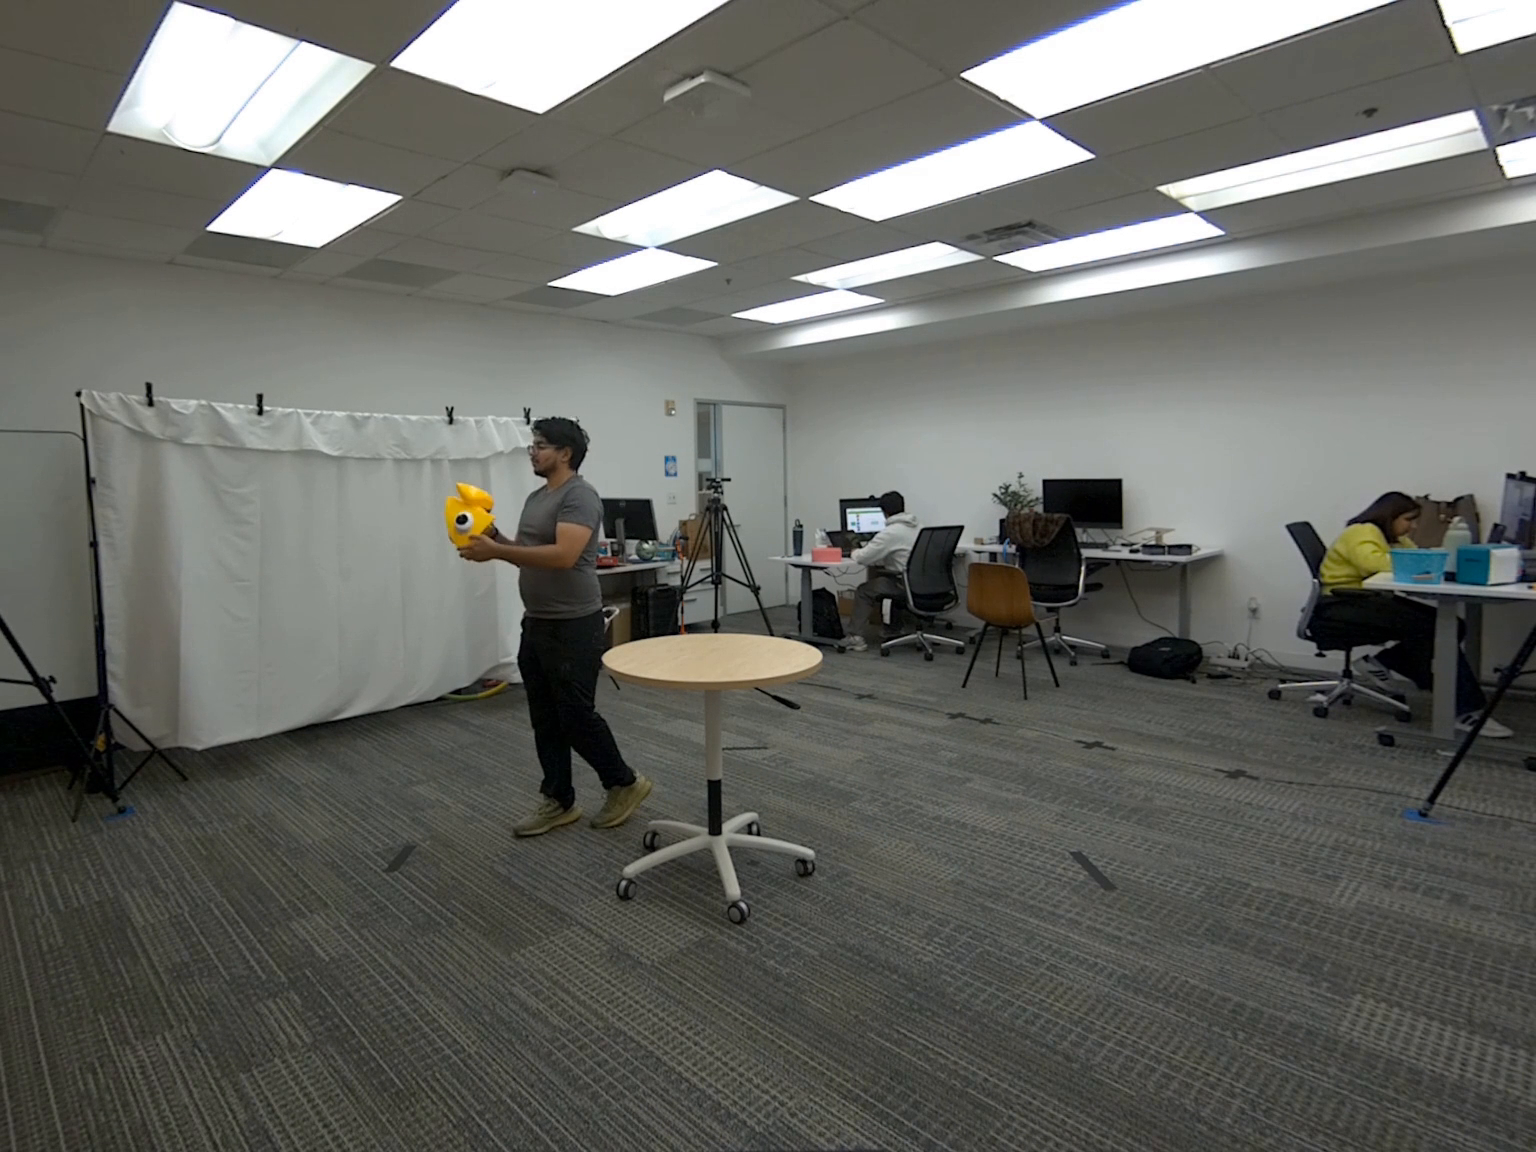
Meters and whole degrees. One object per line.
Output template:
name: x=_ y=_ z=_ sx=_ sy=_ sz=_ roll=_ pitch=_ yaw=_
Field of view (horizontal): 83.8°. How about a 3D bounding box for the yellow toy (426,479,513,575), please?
yellow toy: x=-1.111 y=-0.181 z=3.187 sx=0.189 sy=0.235 sz=0.206 roll=26 pitch=-36 yaw=-20
